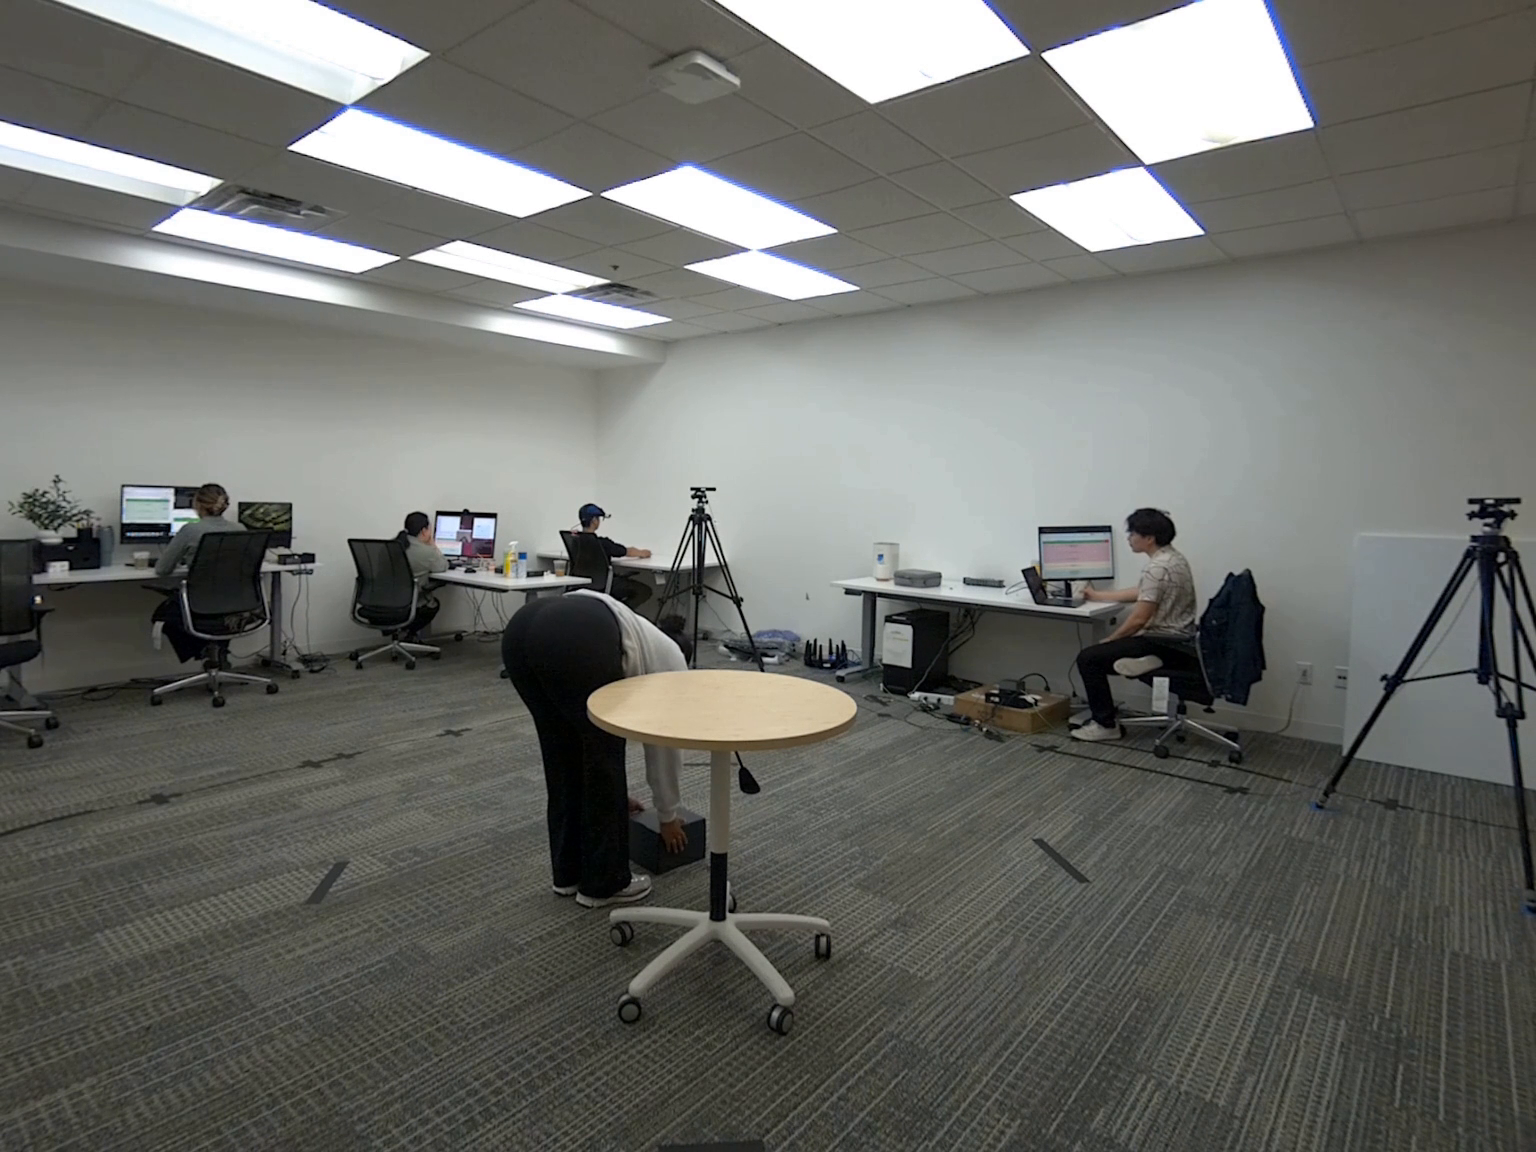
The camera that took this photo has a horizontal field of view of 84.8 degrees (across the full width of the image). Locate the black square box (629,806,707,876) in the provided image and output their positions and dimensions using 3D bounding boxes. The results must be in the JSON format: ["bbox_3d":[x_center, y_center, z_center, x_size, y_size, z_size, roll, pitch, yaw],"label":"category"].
[{"bbox_3d":[-0.398,0.974,3.190,0.221,0.155,0.224,-3,6,-43],"label":"black square box"}]
